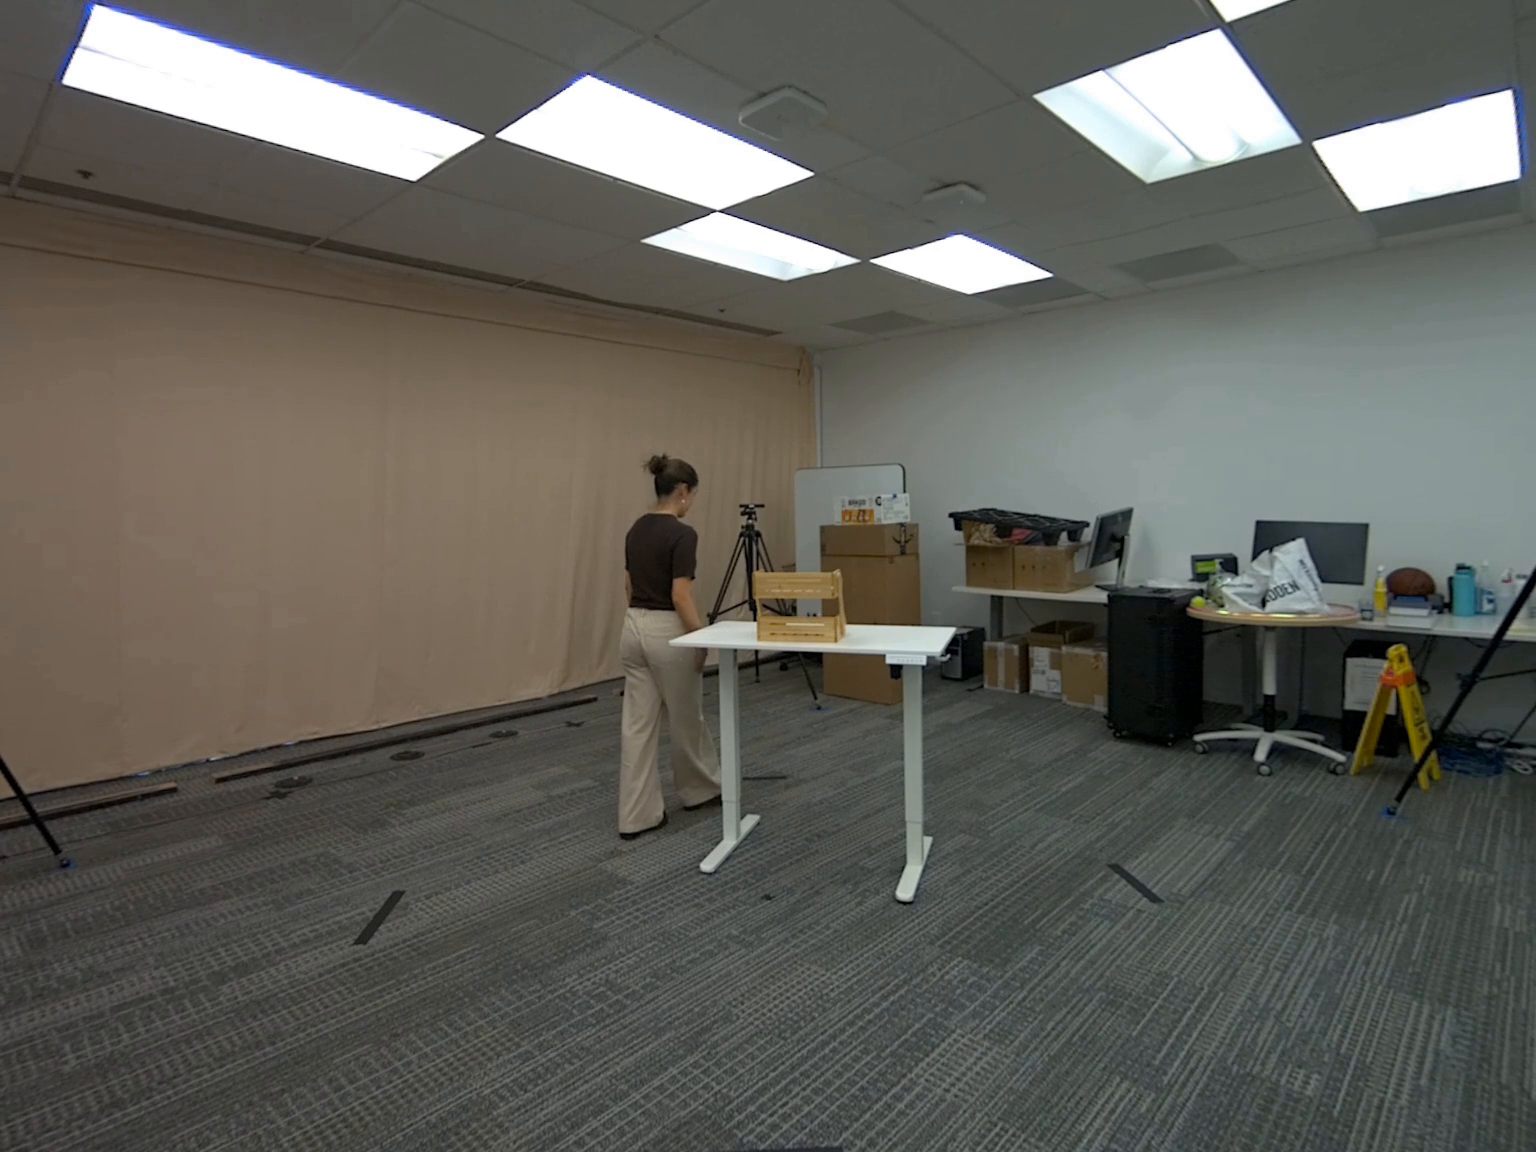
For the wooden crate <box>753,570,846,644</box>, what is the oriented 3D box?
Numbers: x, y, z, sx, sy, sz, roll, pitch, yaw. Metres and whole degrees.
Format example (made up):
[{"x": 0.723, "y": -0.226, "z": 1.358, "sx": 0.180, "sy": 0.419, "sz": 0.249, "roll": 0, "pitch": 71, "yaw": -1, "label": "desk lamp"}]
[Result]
[{"x": 0.127, "y": 0.102, "z": 3.201, "sx": 0.329, "sy": 0.273, "sz": 0.298, "roll": -1, "pitch": 4, "yaw": 13, "label": "wooden crate"}]
